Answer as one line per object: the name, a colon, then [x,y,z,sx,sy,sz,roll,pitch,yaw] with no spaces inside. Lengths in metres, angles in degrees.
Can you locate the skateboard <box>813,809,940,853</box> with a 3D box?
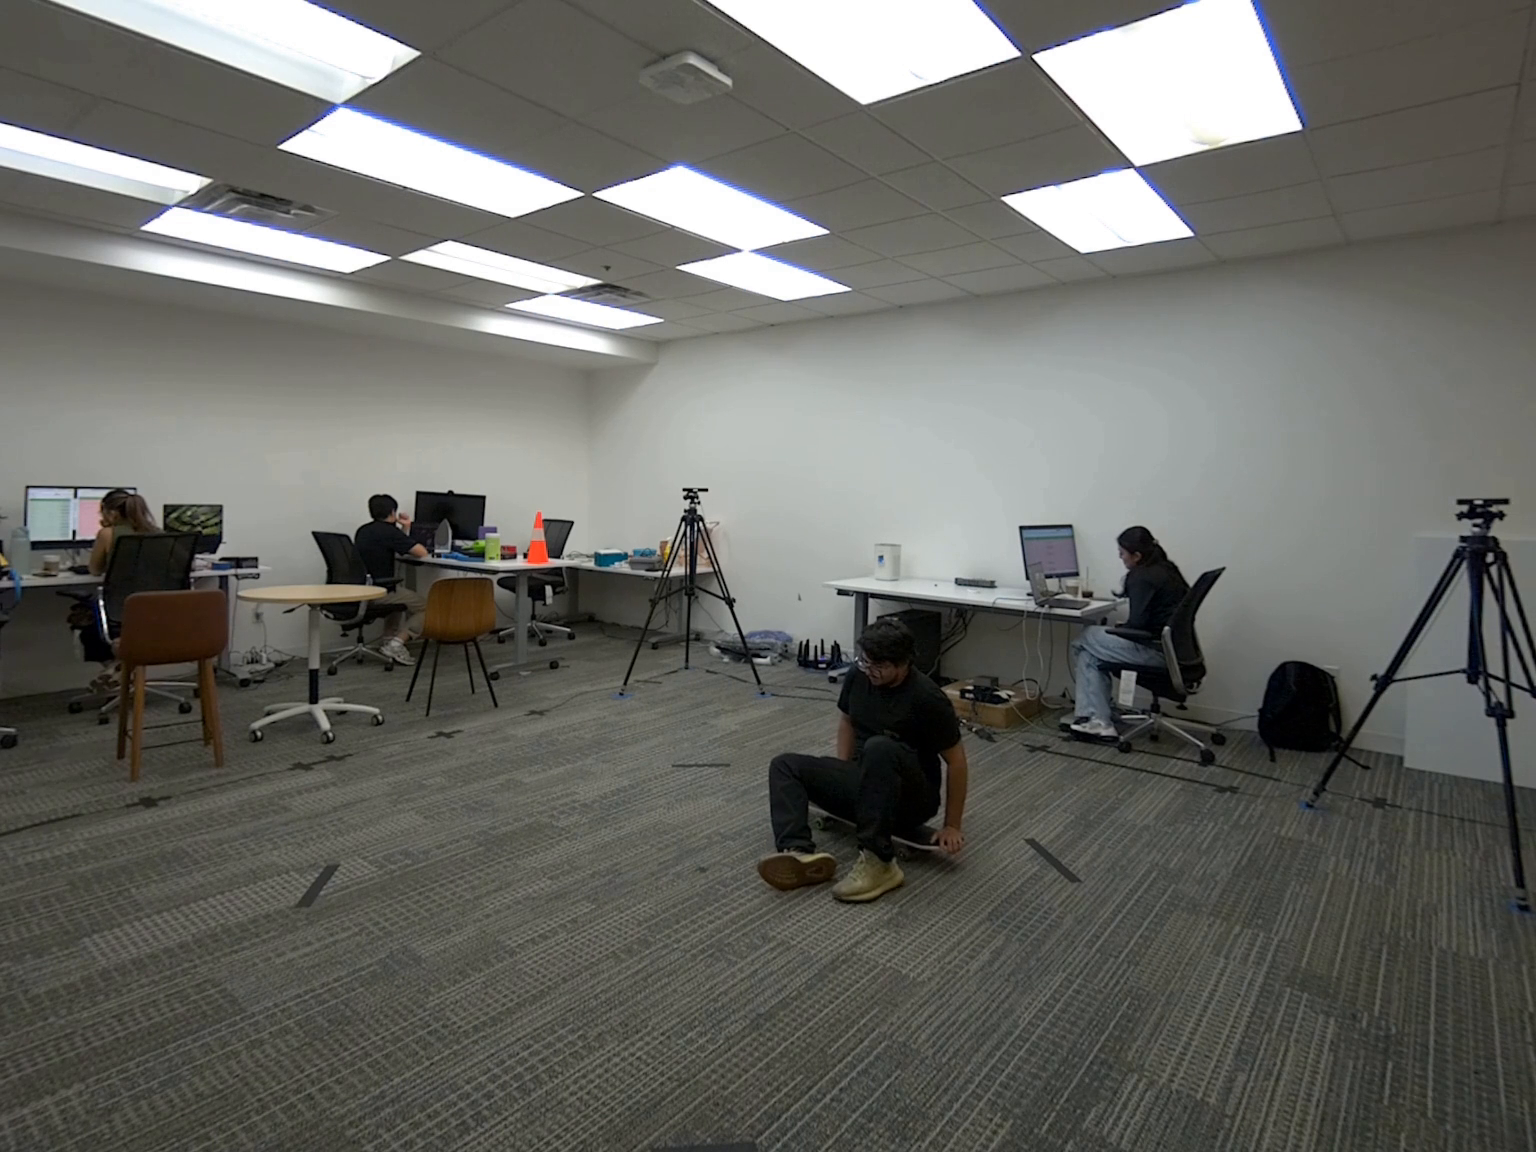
skateboard: [0.398,0.994,3.414,0.187,0.110,0.813,0,5,-44]
